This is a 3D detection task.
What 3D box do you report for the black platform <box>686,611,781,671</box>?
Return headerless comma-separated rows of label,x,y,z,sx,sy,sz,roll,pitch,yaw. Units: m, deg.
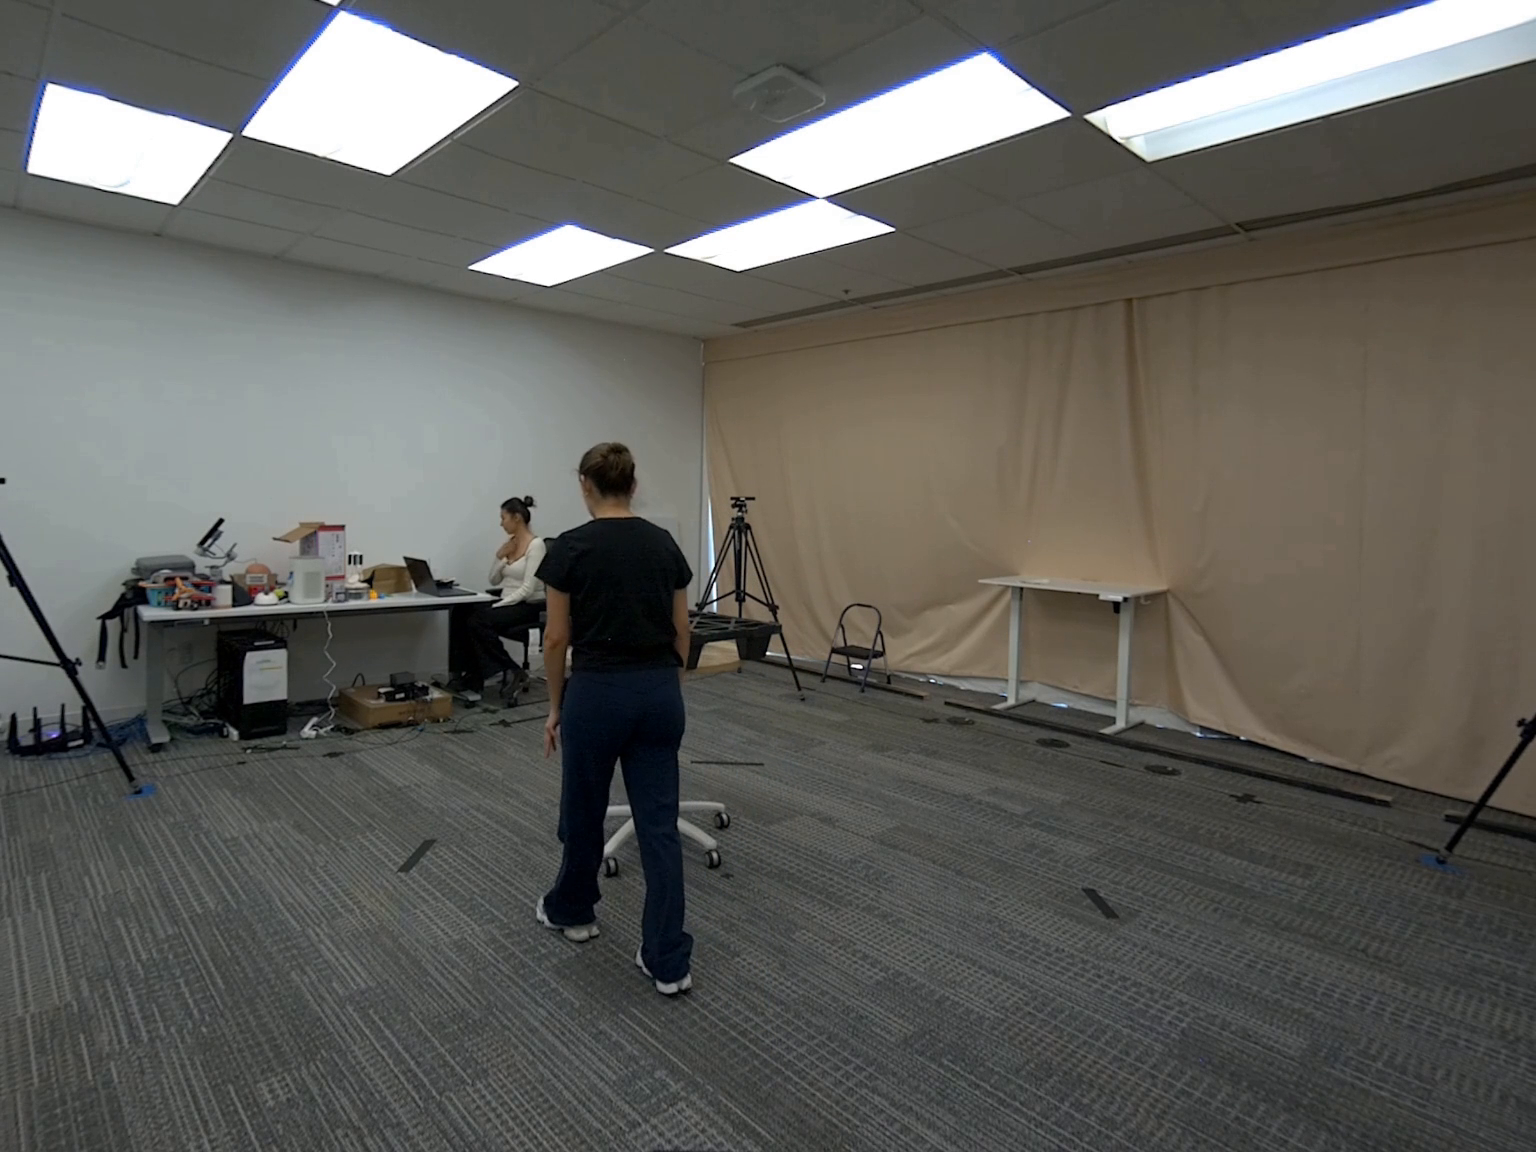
black platform,-0.436,0.235,3.333,0.826,0.143,0.591,7,7,43
